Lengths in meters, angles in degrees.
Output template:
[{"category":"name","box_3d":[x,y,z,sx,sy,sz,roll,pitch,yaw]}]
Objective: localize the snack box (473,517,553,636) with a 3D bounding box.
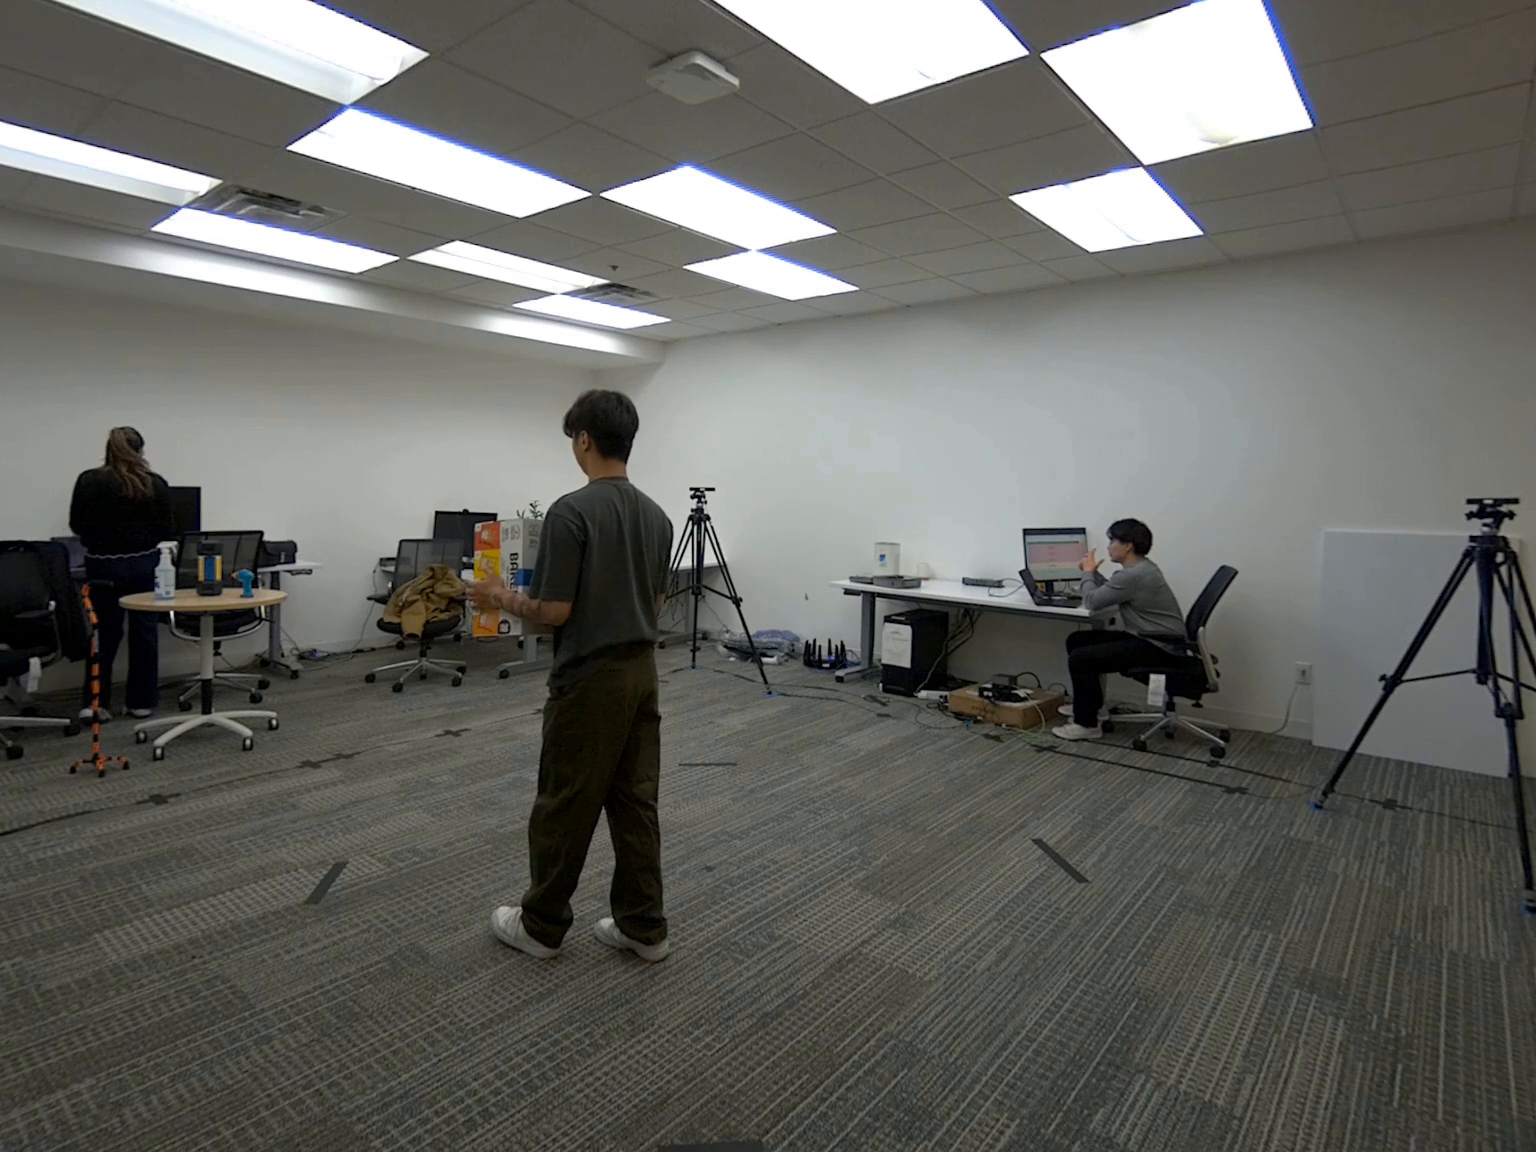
[{"category":"snack box","box_3d":[-0.705,0.012,2.668,0.211,0.343,0.392,-5,-7,30]}]
